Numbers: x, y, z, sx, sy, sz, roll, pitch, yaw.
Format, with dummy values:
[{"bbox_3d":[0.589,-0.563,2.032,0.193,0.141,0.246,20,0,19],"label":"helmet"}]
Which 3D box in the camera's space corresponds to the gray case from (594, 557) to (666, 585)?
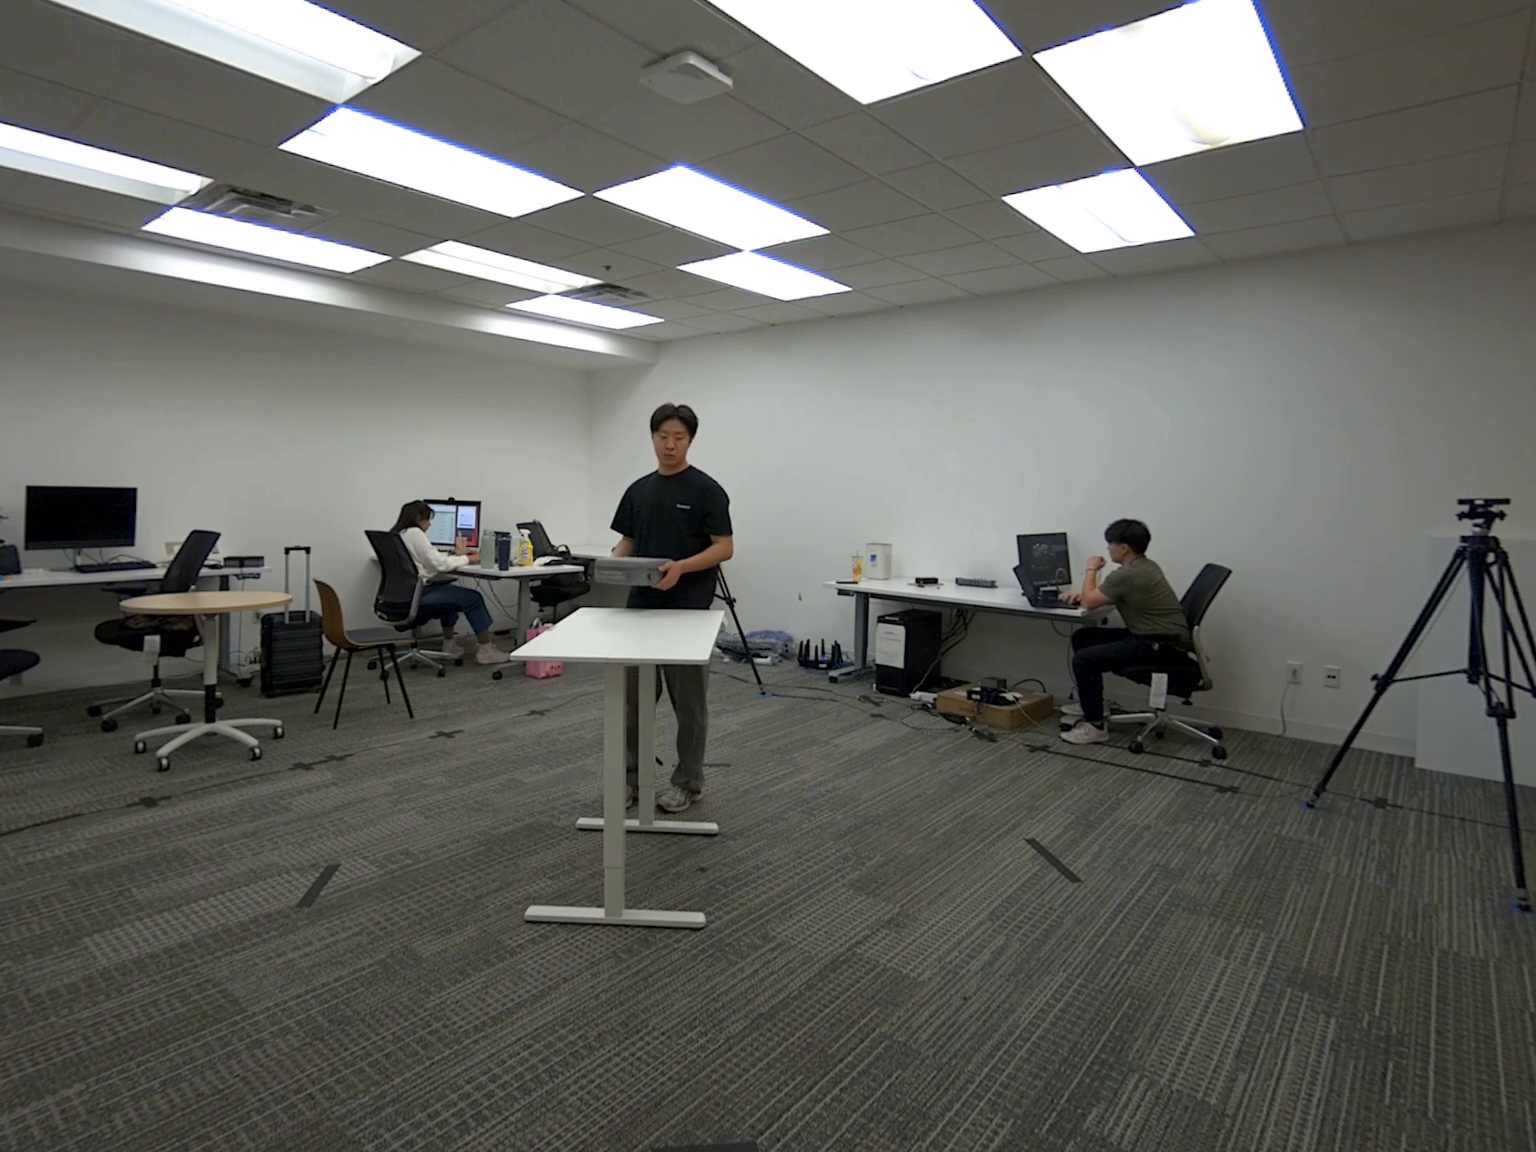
[{"bbox_3d":[-0.547,-0.026,3.509,0.280,0.103,0.270,-1,2,-28],"label":"gray case"}]
